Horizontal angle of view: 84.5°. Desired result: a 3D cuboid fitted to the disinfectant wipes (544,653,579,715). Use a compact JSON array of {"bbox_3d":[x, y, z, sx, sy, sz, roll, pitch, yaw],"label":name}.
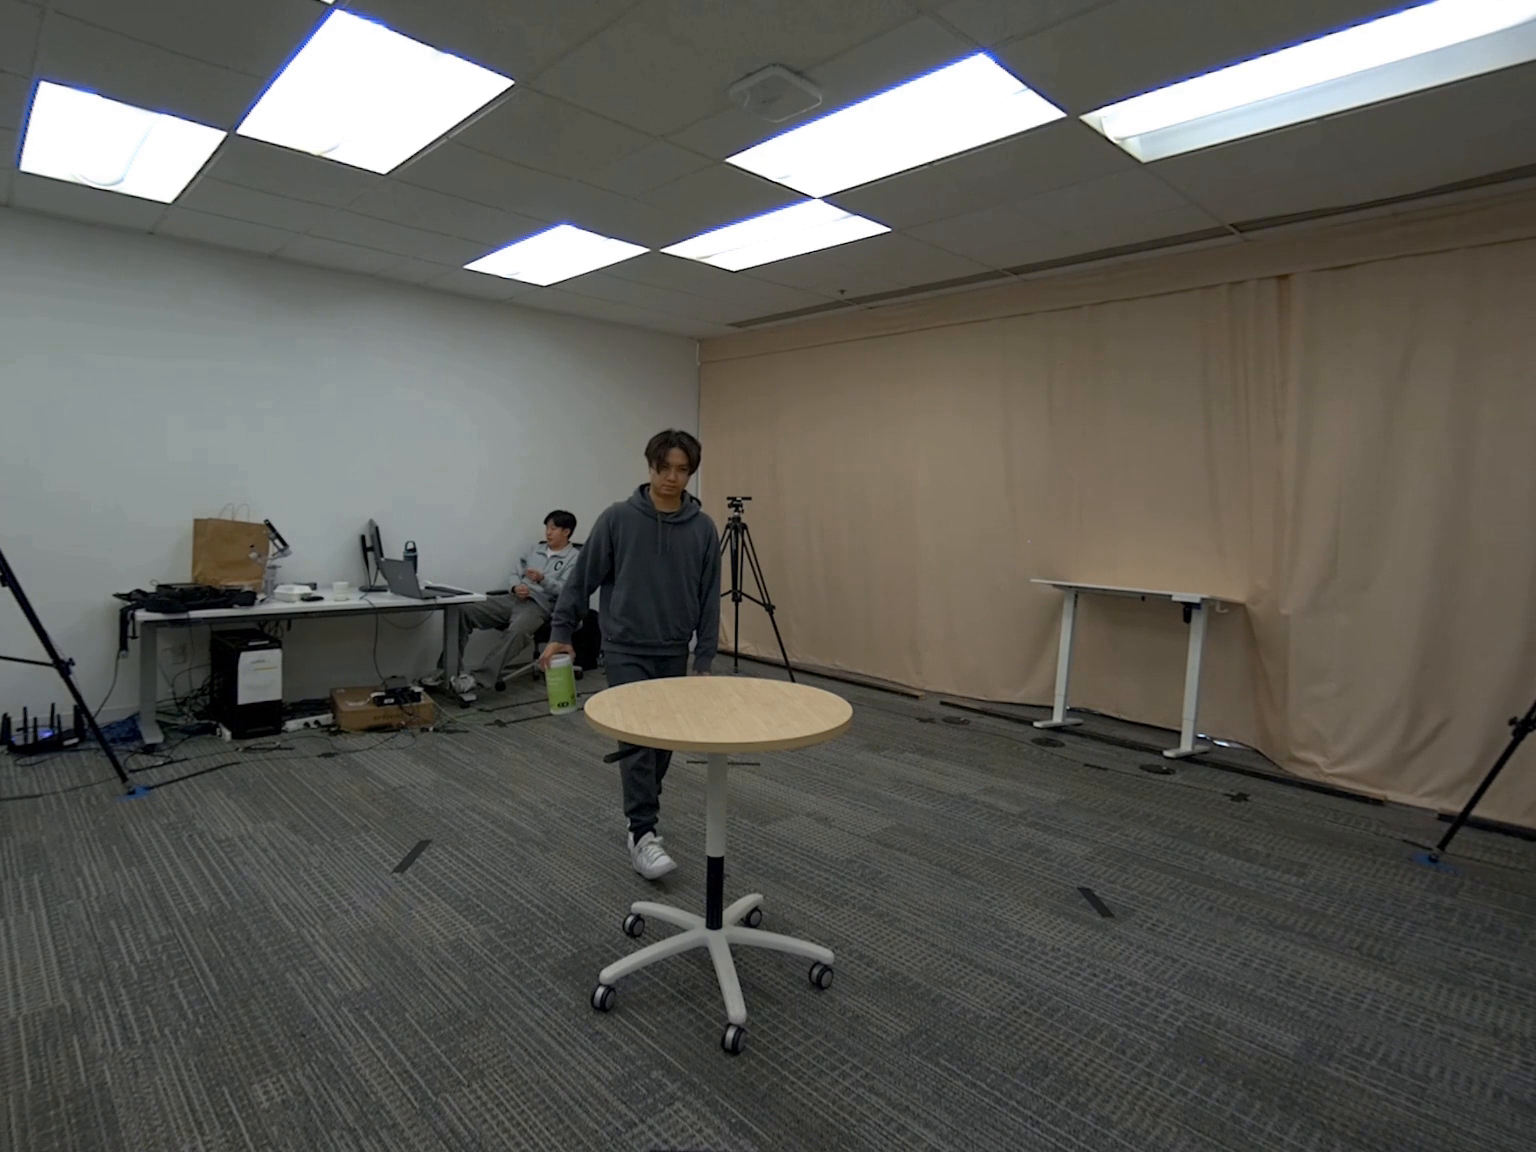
[{"bbox_3d":[-0.811,0.418,3.279,0.118,0.217,0.118,-5,5,-1],"label":"disinfectant wipes"}]
